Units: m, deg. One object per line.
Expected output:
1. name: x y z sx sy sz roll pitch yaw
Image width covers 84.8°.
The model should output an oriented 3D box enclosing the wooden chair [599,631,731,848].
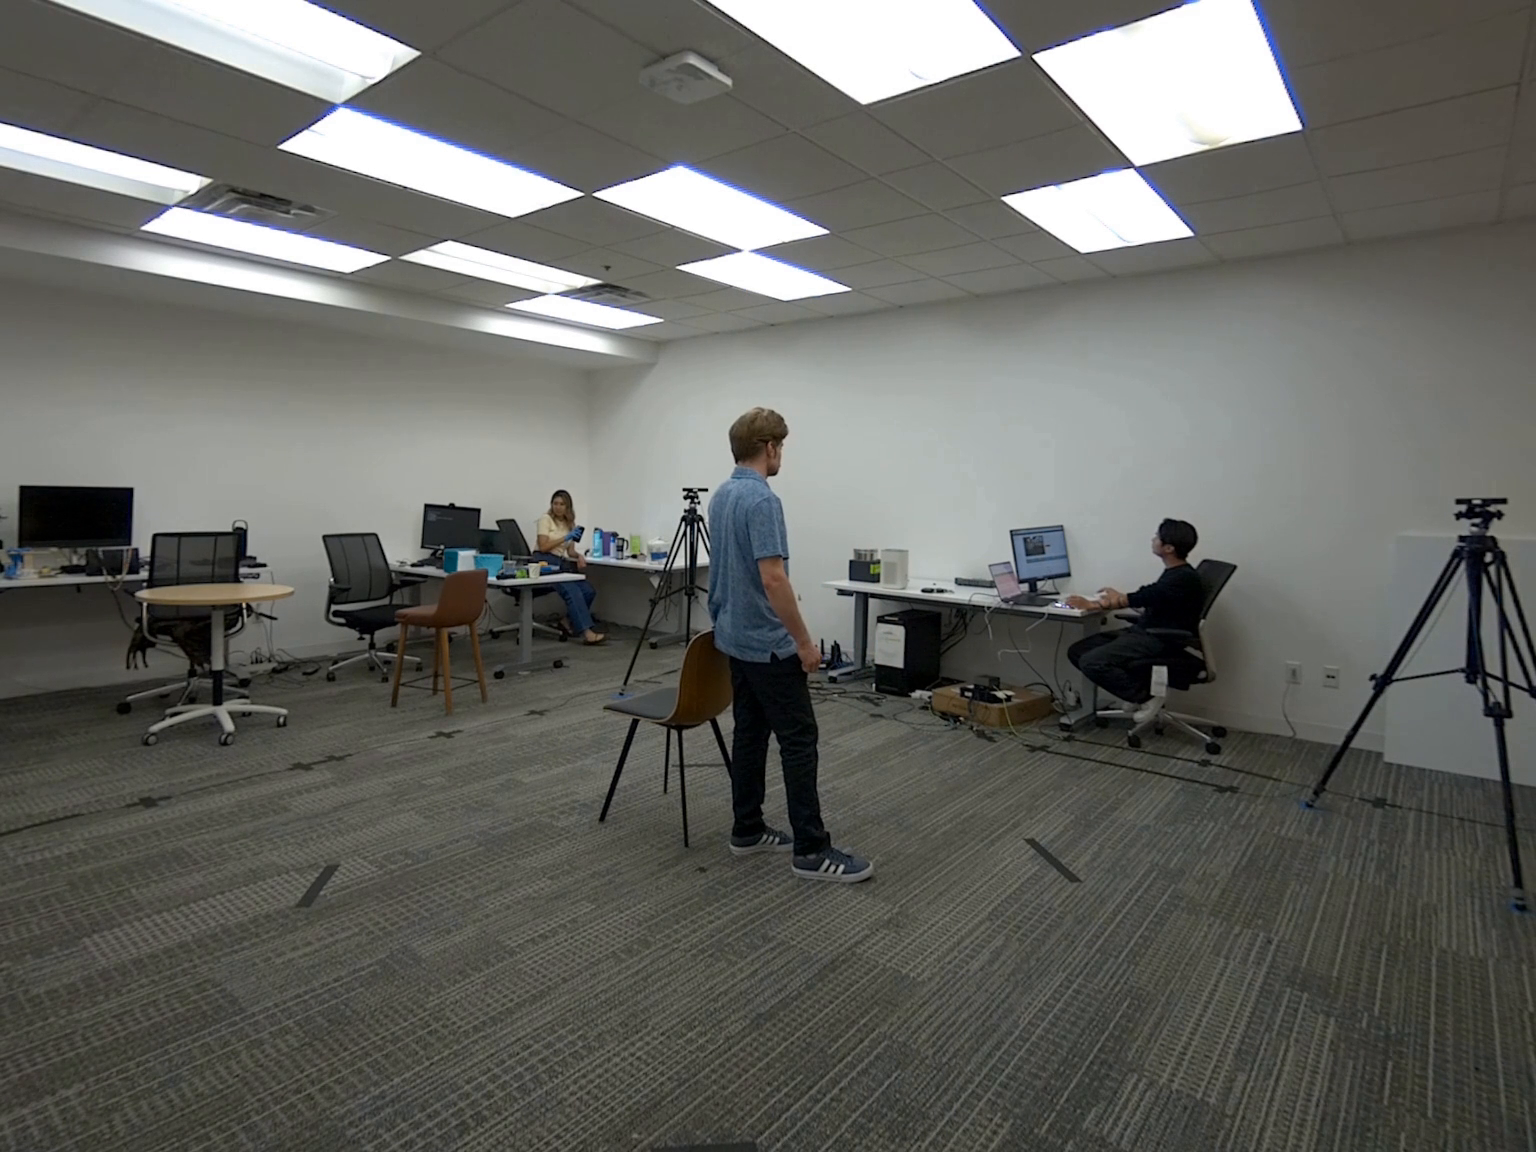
1. wooden chair: -0.410 0.594 3.576 0.540 0.873 0.465 8 7 31
